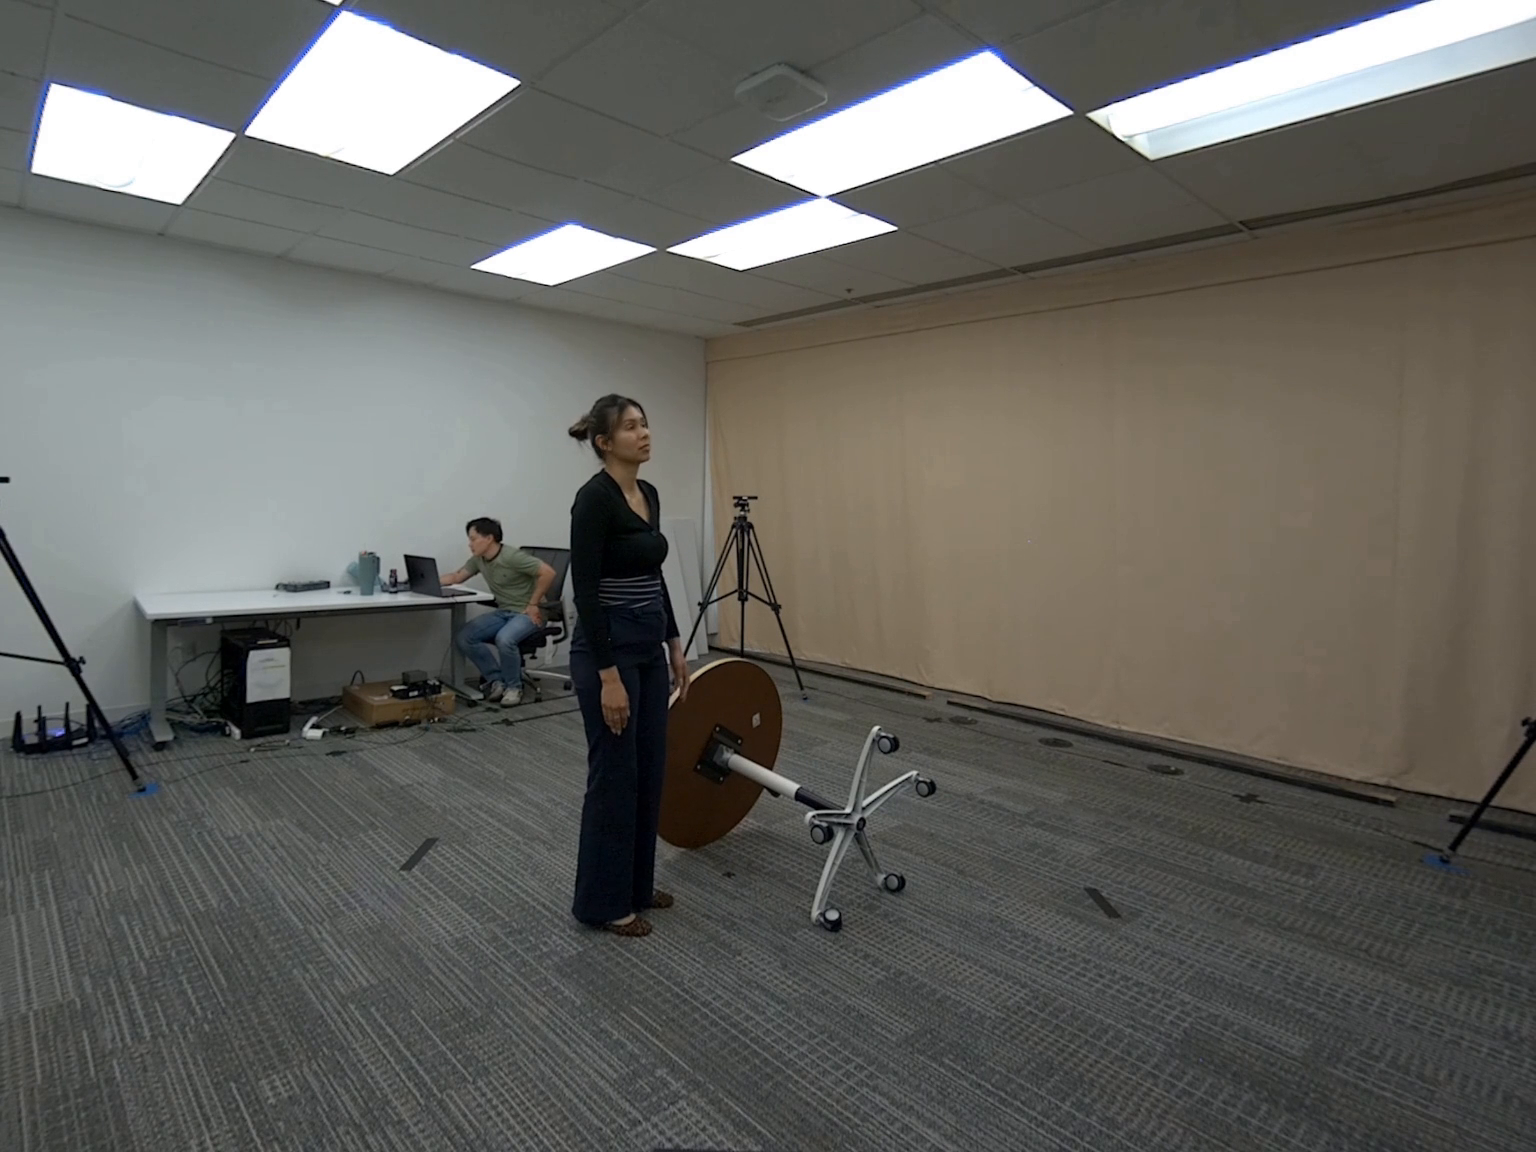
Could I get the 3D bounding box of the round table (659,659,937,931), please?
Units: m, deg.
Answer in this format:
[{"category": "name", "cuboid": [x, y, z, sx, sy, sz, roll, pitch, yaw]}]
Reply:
[{"category": "round table", "cuboid": [0.074, 0.784, 3.067, 0.817, 0.759, 0.747, 15, 12, 41]}]
